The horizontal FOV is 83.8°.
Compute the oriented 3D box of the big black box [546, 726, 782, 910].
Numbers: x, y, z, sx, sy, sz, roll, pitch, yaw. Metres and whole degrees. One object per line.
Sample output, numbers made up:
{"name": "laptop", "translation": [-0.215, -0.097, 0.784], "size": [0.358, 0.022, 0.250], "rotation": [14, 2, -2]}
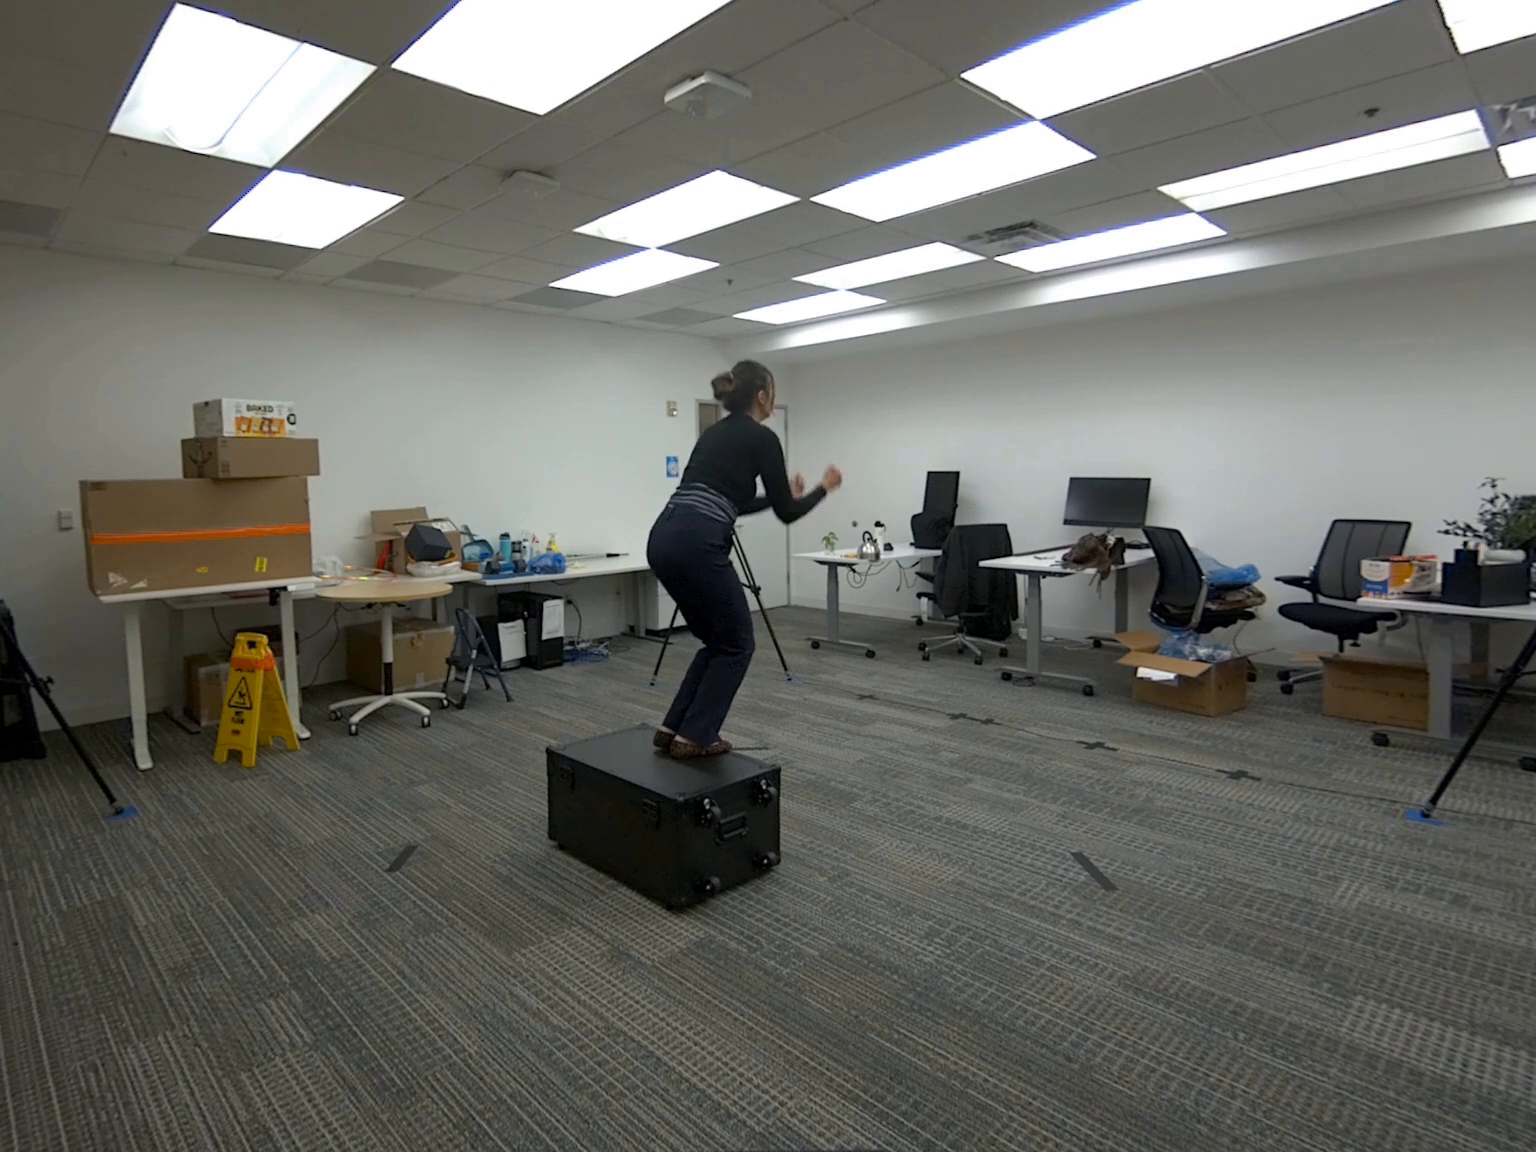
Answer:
{"name": "big black box", "translation": [-0.416, 0.851, 3.187], "size": [0.507, 0.395, 0.888], "rotation": [-5, 7, -45]}
